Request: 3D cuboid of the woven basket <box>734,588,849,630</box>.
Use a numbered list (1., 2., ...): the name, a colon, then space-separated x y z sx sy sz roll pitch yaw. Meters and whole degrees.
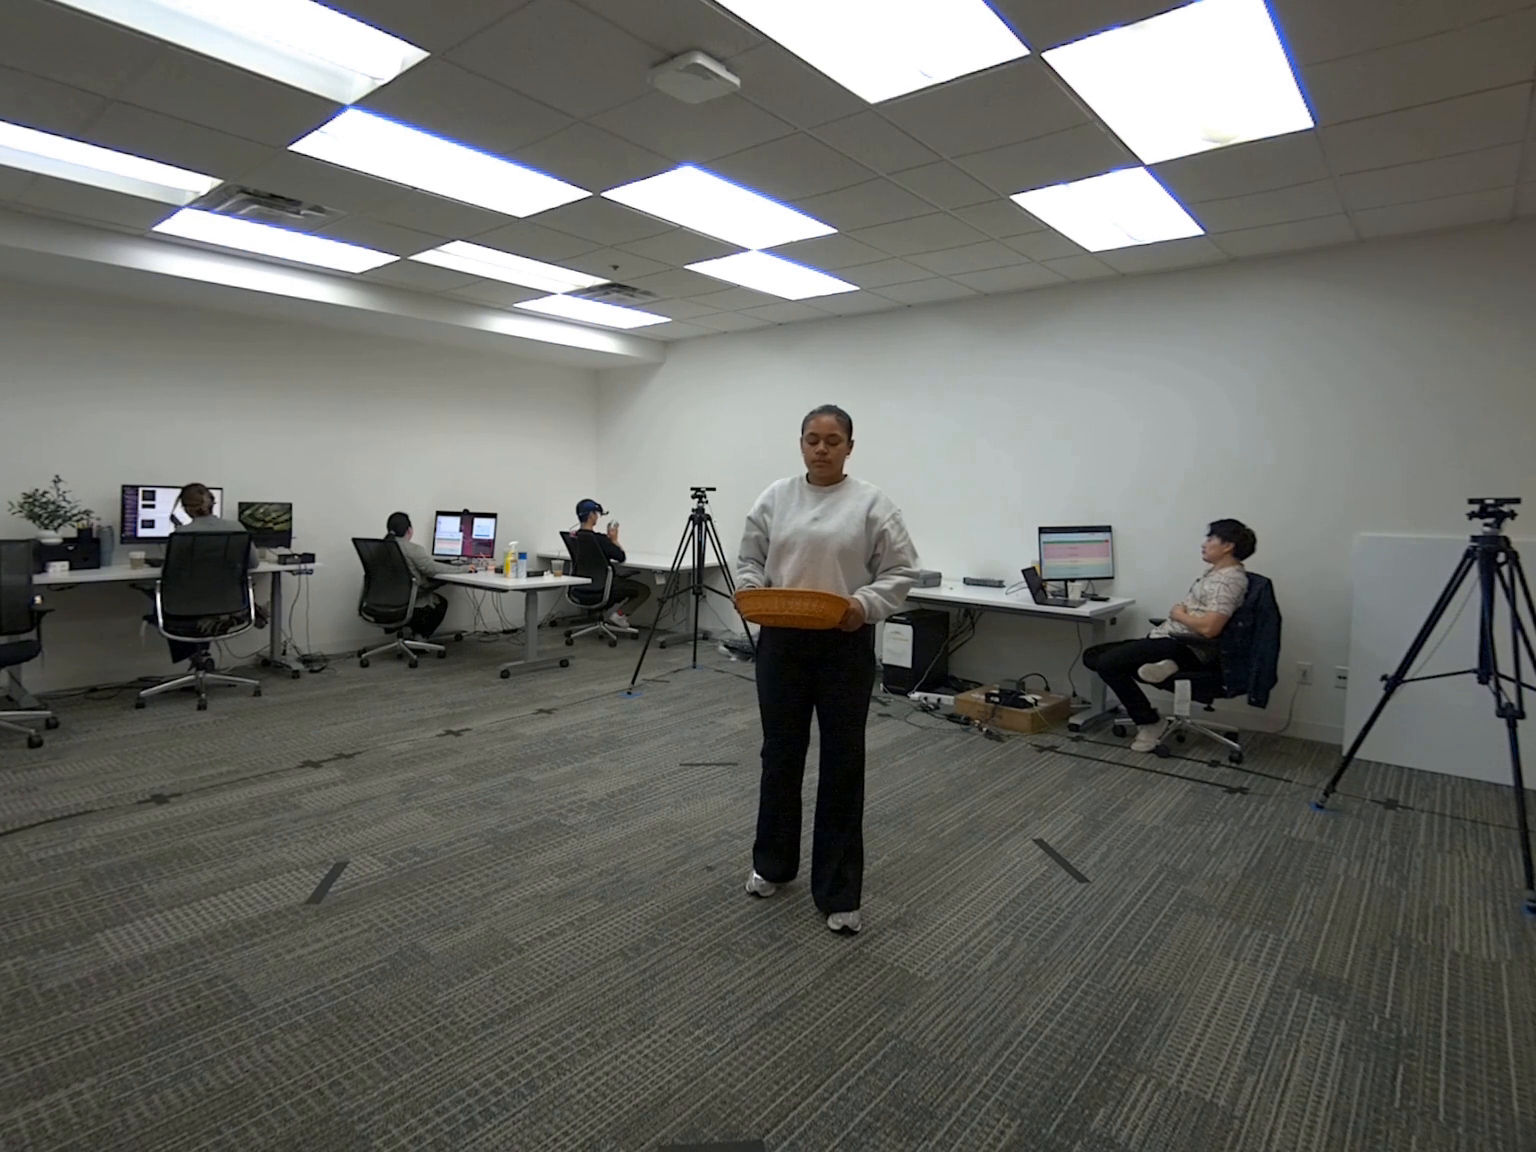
1. woven basket: 0.076 0.092 2.510 0.358 0.074 0.243 0 -16 22
